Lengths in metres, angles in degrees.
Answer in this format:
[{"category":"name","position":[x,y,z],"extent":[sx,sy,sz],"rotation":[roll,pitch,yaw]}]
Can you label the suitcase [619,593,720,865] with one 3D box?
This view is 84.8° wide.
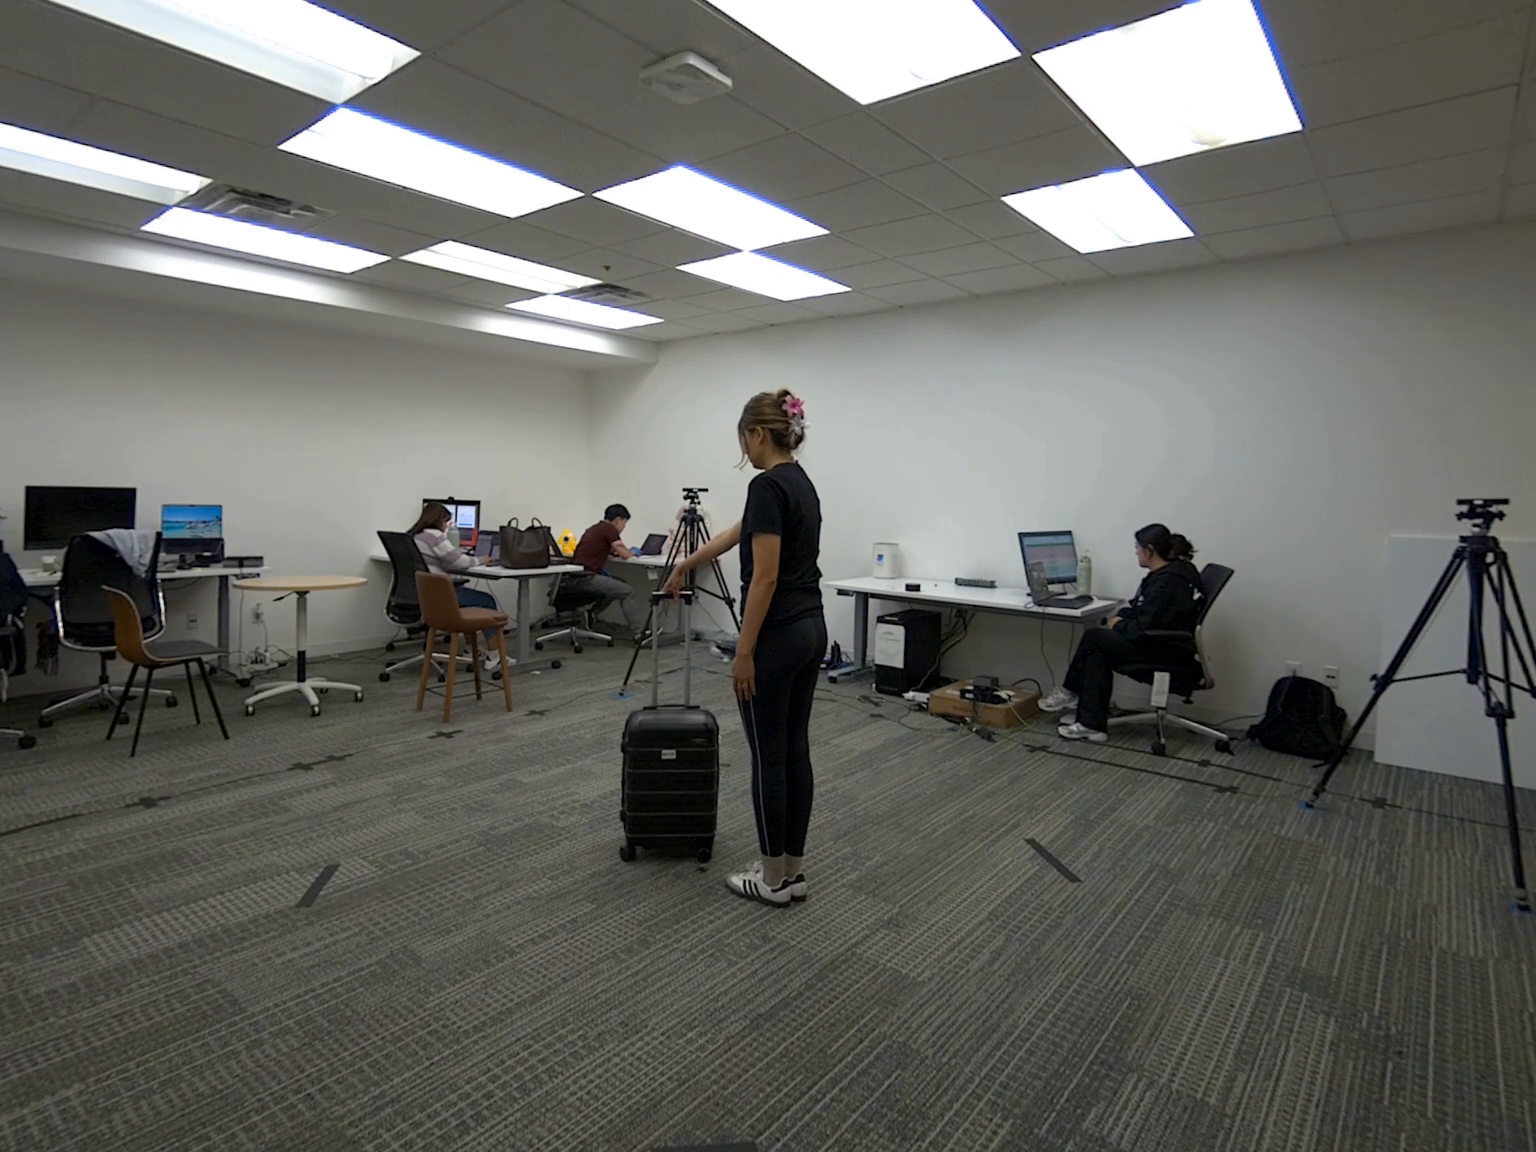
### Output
[{"category":"suitcase","position":[-0.378,0.577,3.252],"extent":[0.382,0.975,0.259],"rotation":[1,4,-6]}]
